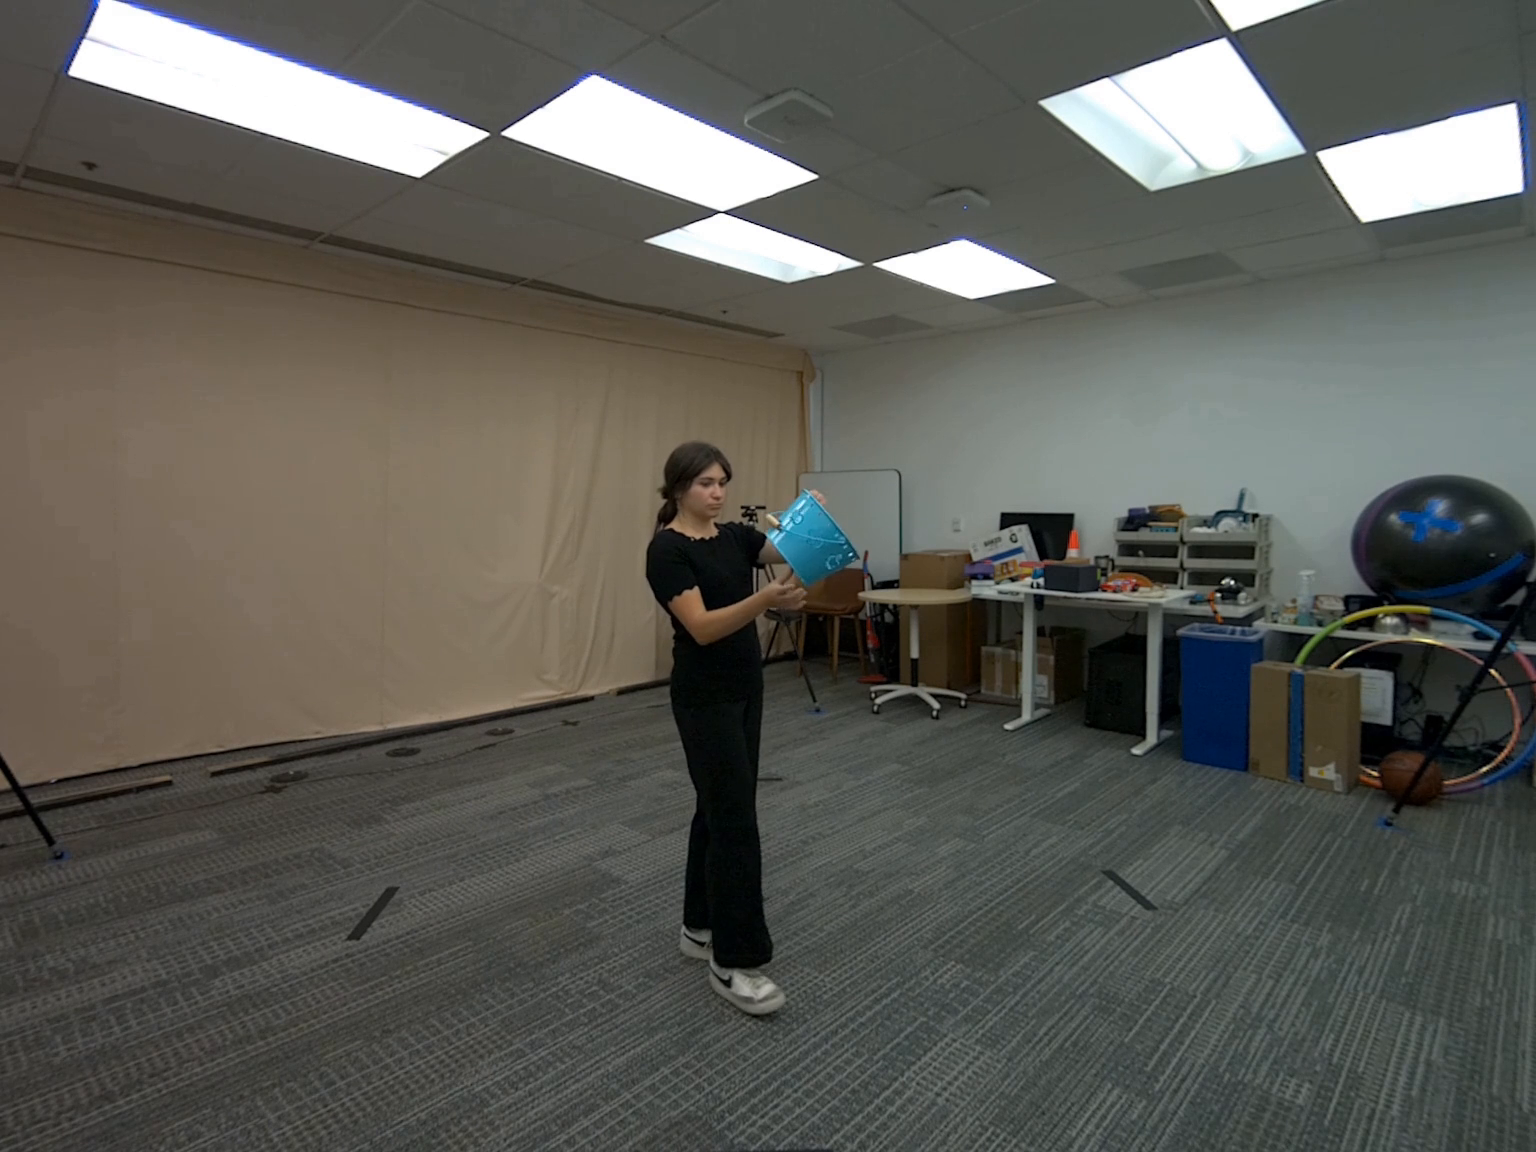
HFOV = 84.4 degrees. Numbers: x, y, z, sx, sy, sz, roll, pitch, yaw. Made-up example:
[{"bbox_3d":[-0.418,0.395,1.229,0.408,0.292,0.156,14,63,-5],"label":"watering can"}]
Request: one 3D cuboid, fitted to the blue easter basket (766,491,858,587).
[{"bbox_3d":[0.110,-0.088,2.180,0.156,0.243,0.243,-37,2,3],"label":"blue easter basket"}]
